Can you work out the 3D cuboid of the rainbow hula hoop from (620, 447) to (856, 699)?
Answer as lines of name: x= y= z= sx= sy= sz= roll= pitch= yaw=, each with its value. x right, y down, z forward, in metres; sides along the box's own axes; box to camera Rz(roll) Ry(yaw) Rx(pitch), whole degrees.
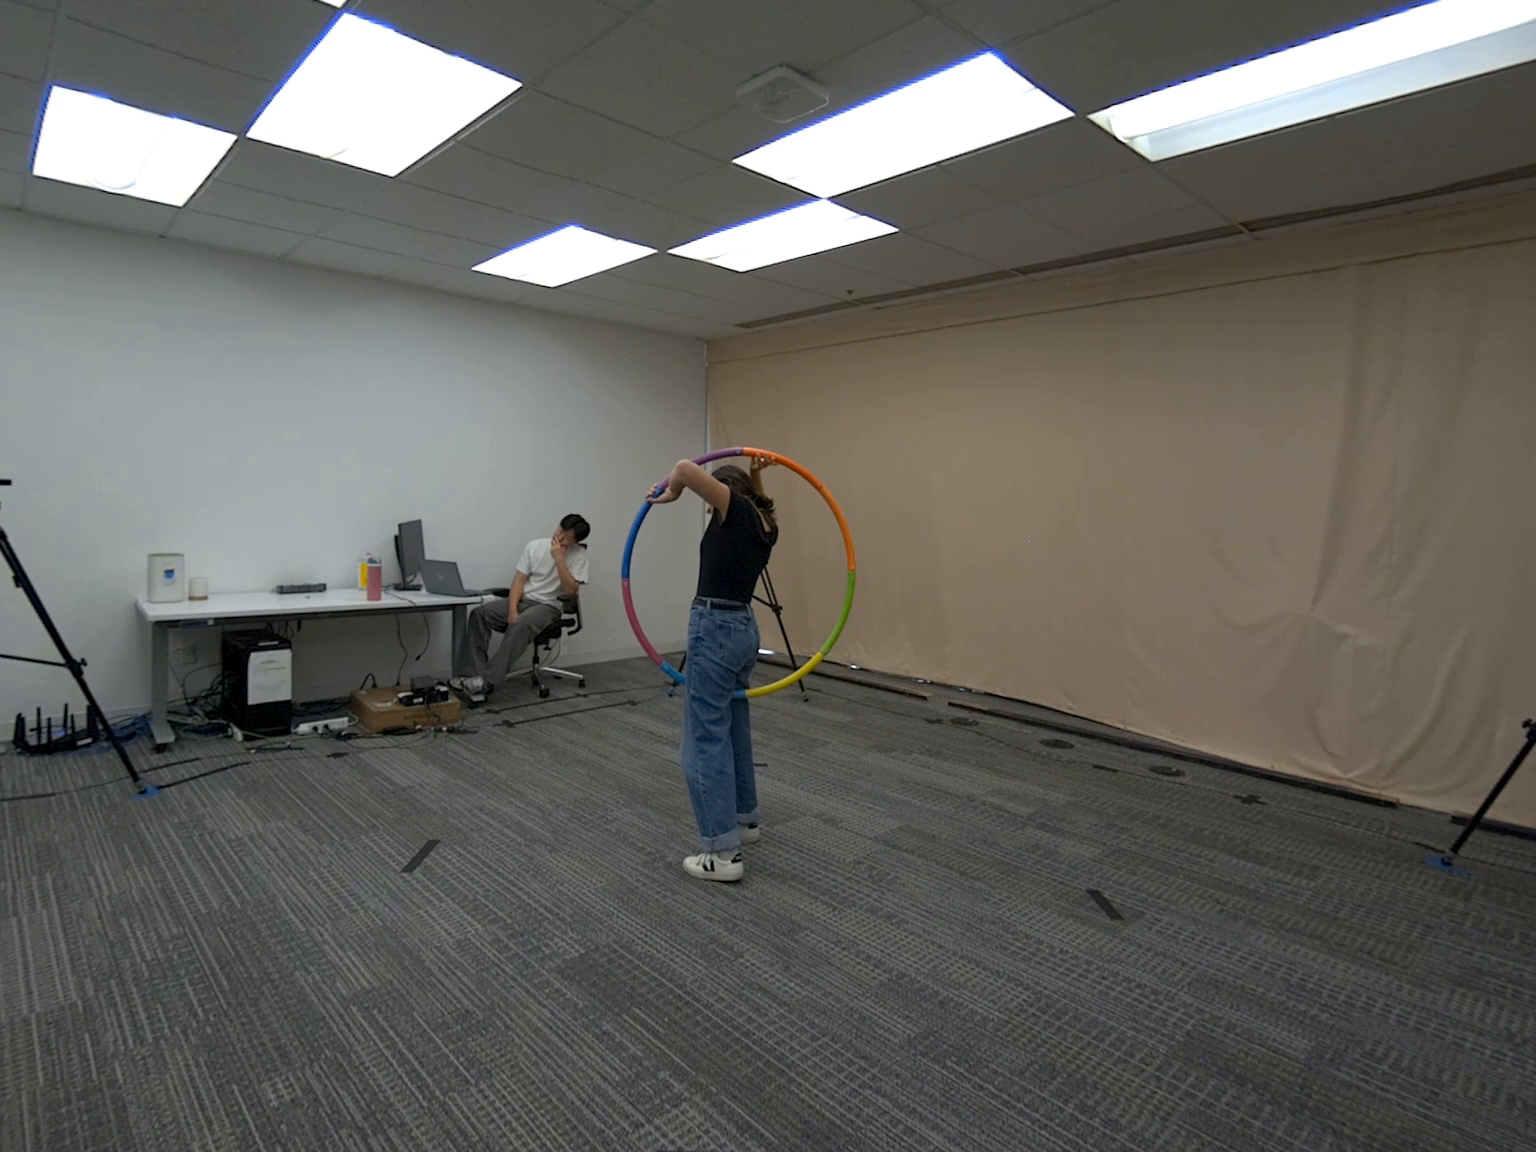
rainbow hula hoop: x=-0.104 y=-0.015 z=3.336 sx=0.965 sy=0.977 sz=0.036 roll=0 pitch=1 yaw=-18
